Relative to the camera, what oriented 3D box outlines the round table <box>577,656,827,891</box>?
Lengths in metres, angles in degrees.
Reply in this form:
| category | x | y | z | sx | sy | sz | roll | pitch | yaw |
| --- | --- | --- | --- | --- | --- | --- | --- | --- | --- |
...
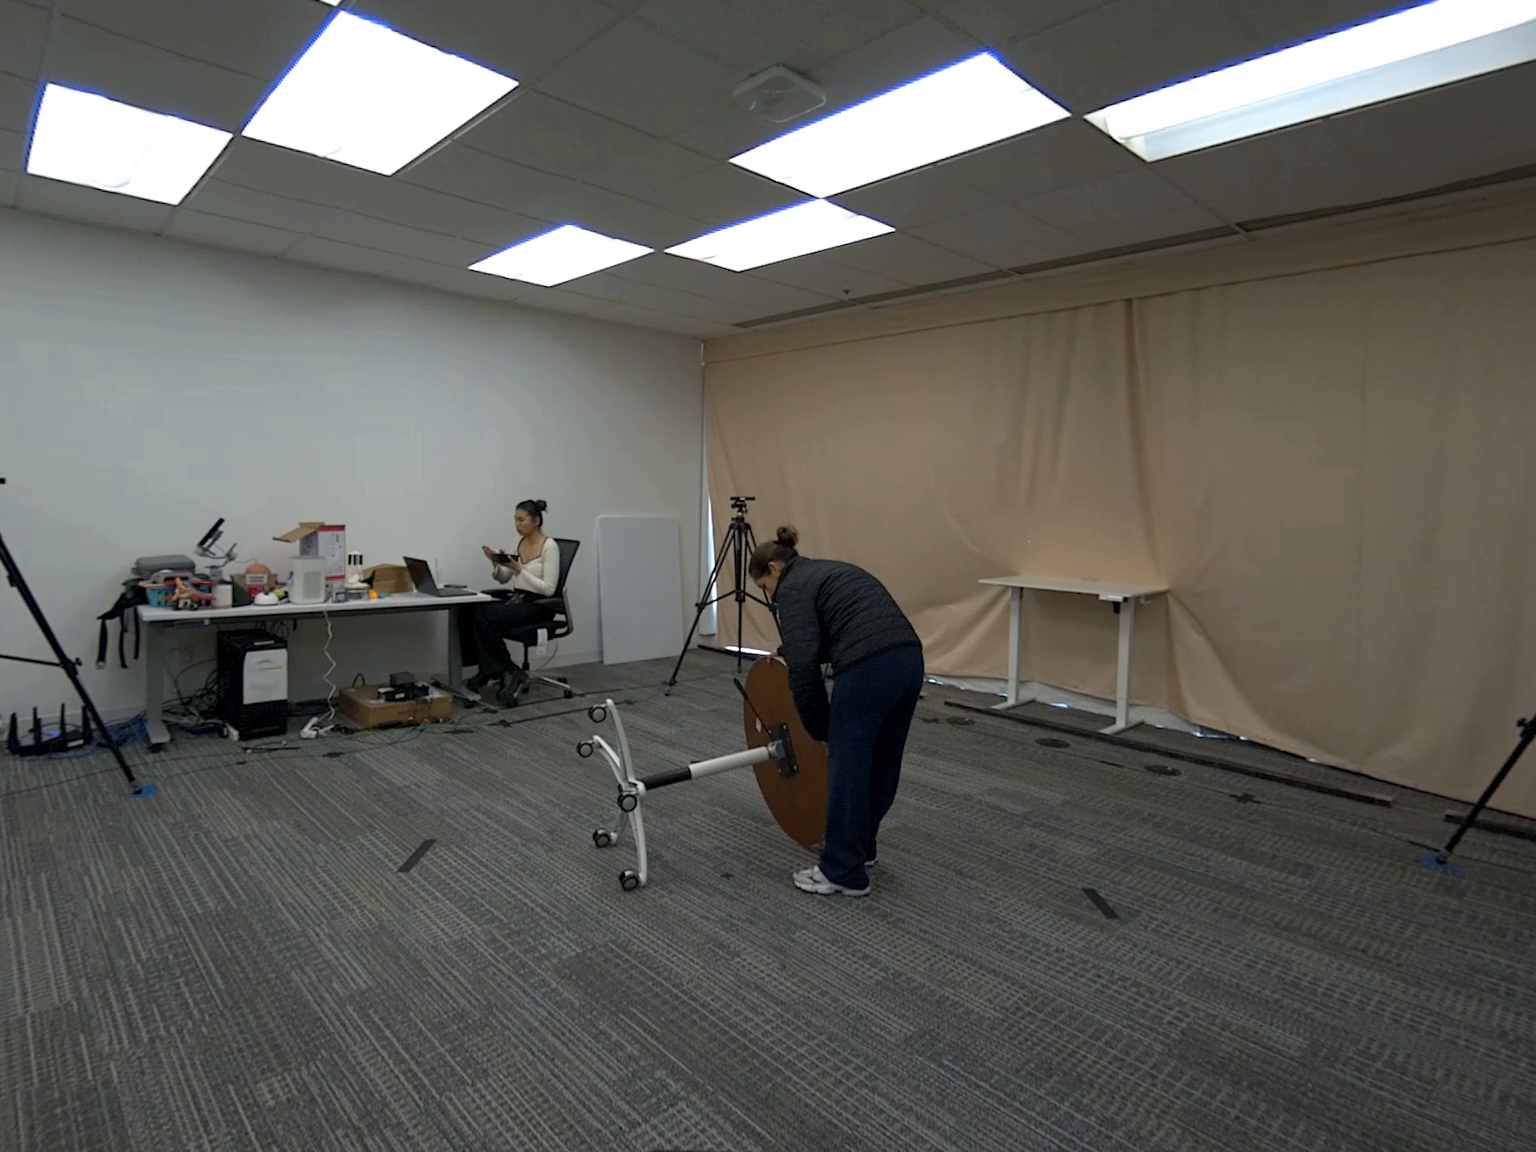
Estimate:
| category | x | y | z | sx | sy | sz | roll | pitch | yaw |
| --- | --- | --- | --- | --- | --- | --- | --- | --- | --- |
| round table | -0.266 | 0.758 | 3.266 | 0.774 | 0.780 | 0.802 | -9 | 9 | -27 |
